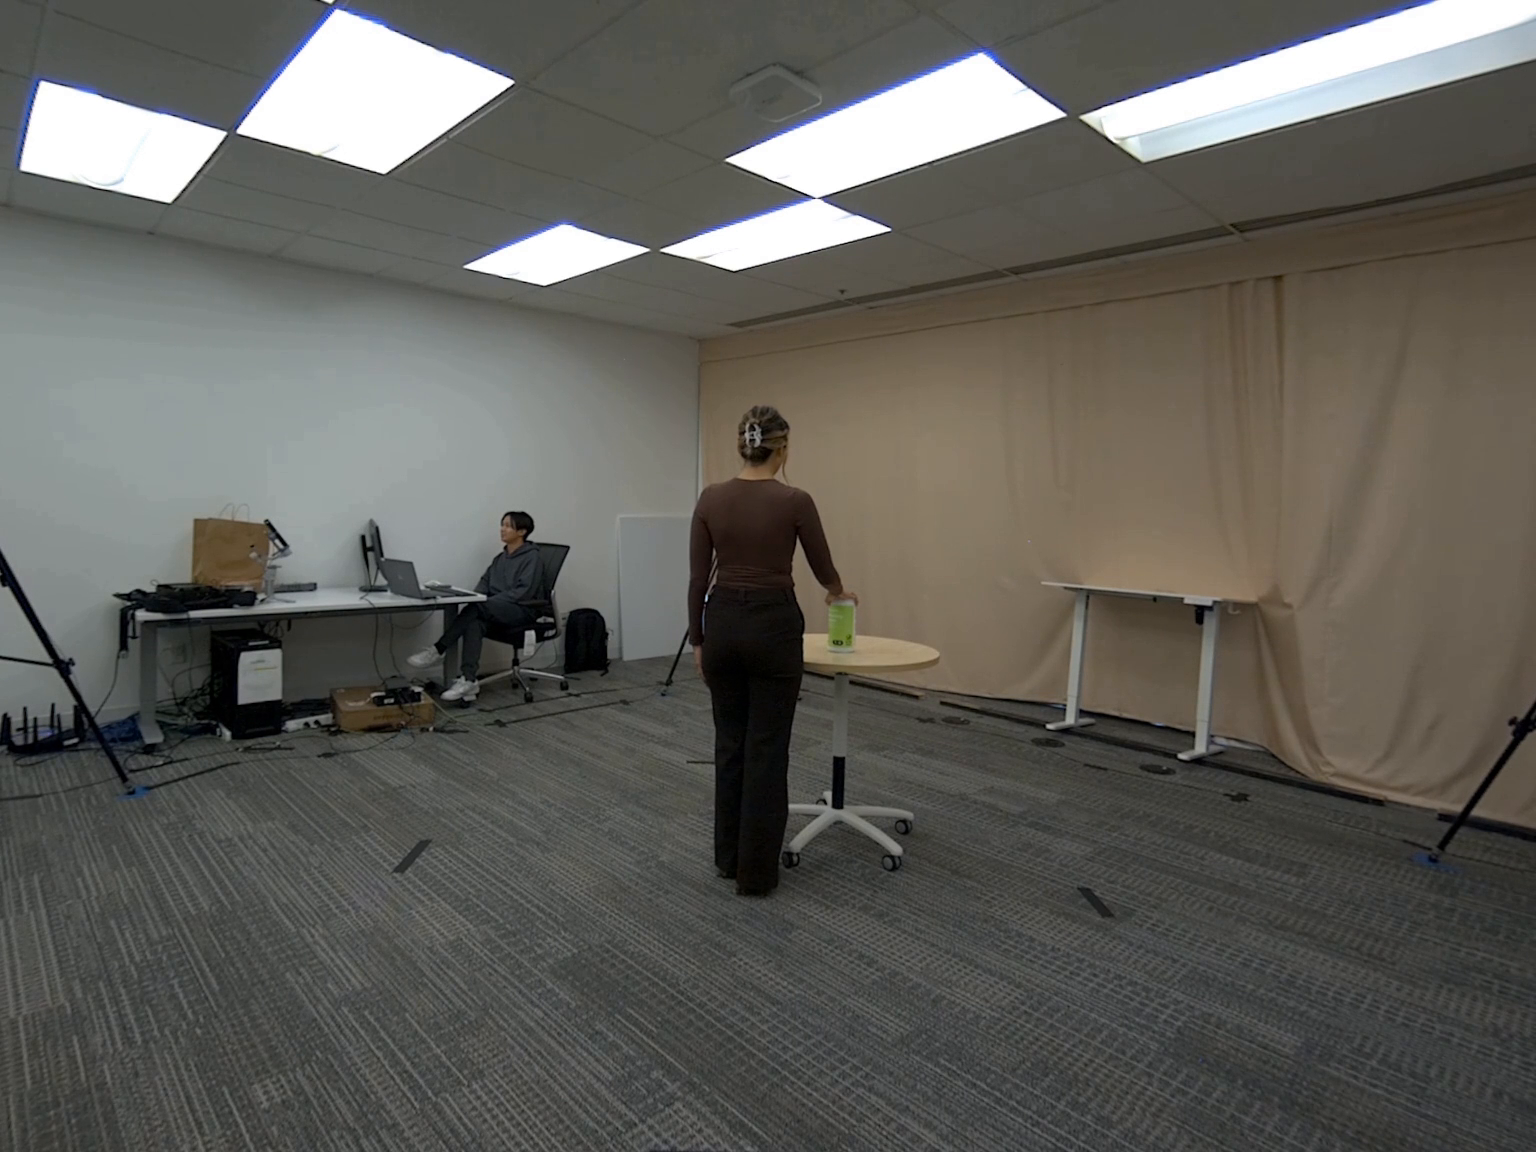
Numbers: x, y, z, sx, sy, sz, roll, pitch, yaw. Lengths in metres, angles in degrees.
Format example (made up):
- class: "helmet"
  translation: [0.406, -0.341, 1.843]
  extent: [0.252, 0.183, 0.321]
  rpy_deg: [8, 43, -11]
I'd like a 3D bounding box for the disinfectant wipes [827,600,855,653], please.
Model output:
- class: "disinfectant wipes"
  translation: [0.289, 0.190, 3.348]
  extent: [0.118, 0.217, 0.118]
  rpy_deg: [1, 5, -1]
